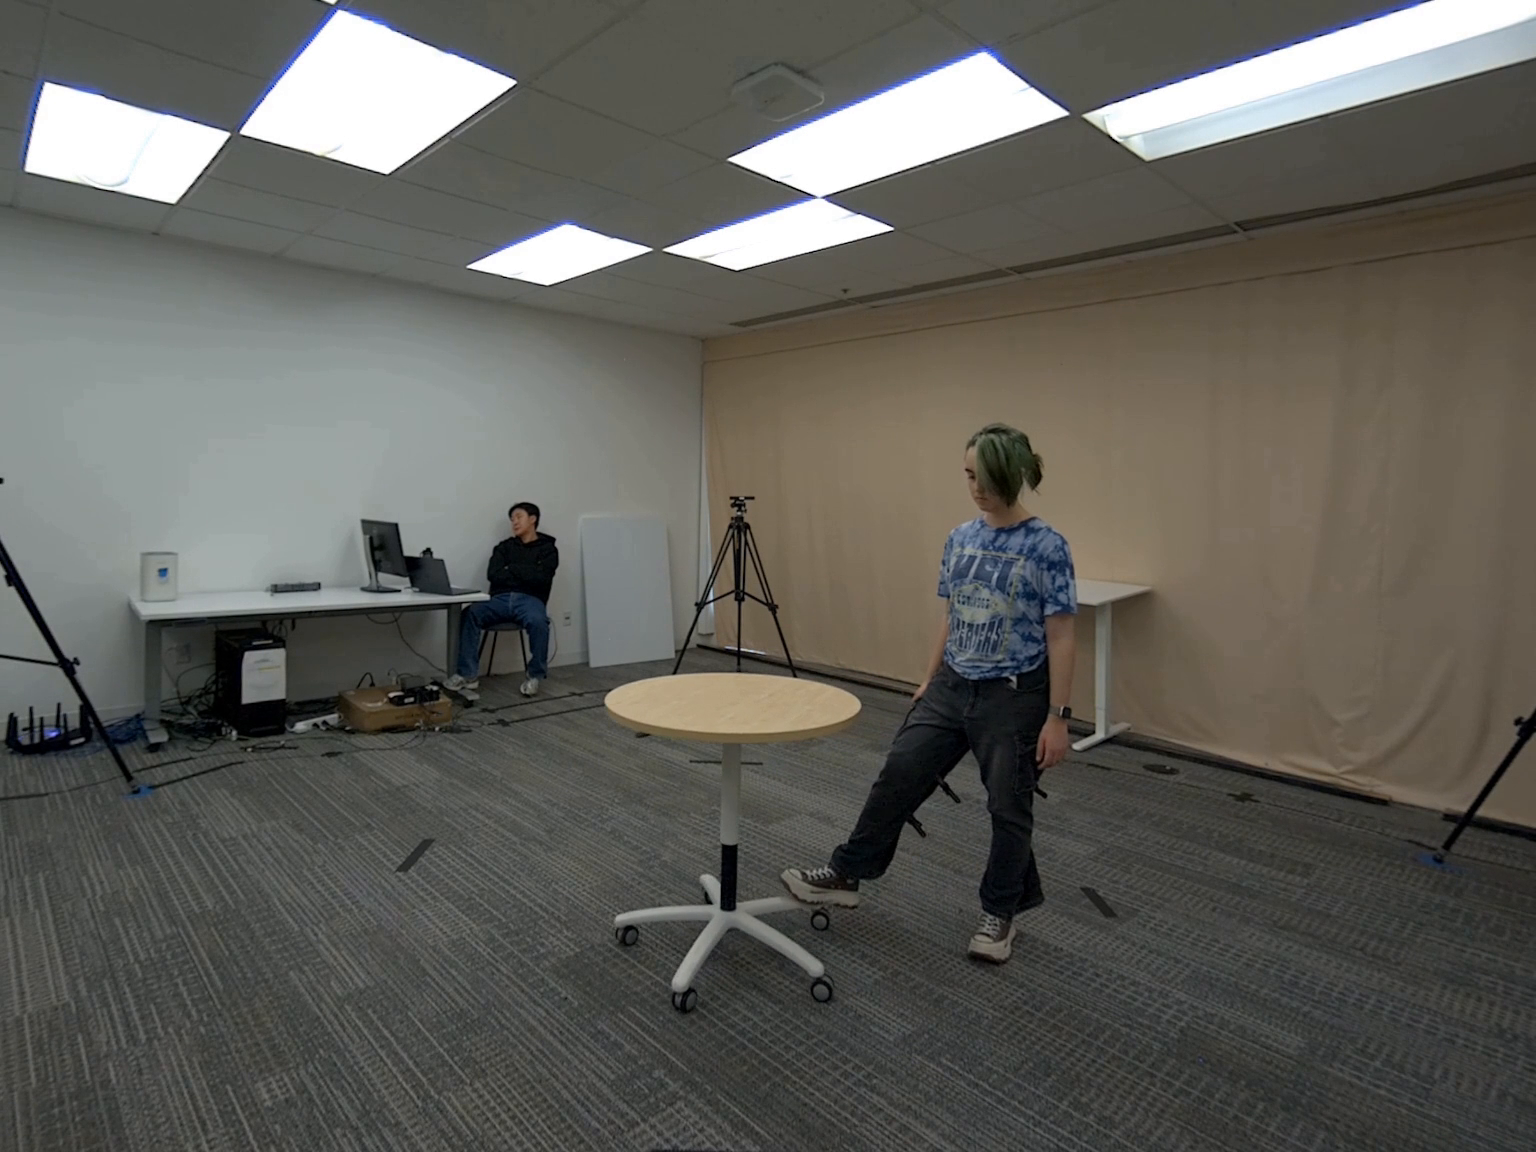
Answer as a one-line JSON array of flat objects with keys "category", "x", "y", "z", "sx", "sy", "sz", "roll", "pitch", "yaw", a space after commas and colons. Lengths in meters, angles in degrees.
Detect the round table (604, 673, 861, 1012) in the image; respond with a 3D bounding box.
[{"category": "round table", "x": -0.113, "y": 0.762, "z": 2.560, "sx": 0.763, "sy": 0.792, "sz": 0.766, "roll": 1, "pitch": 4, "yaw": -1}]
